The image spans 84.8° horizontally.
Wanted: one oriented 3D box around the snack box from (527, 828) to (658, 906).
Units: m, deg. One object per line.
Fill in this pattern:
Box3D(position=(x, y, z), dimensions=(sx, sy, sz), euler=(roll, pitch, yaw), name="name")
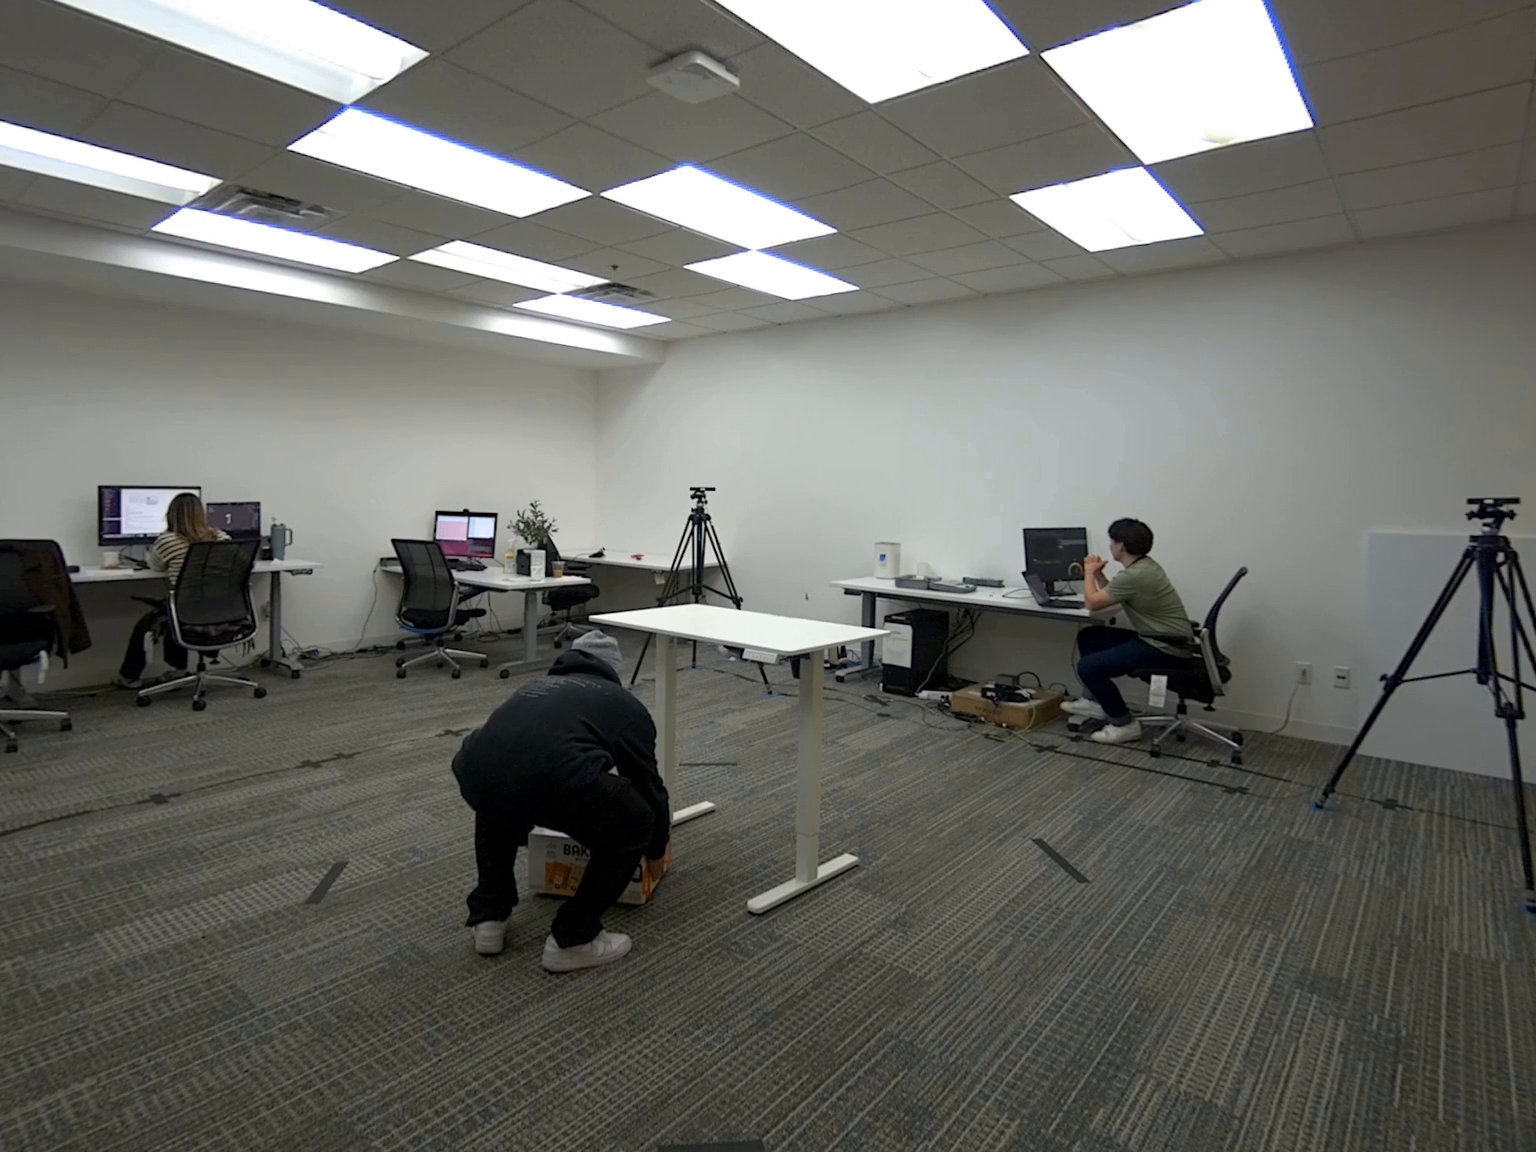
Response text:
Box3D(position=(-0.594, 0.959, 2.979), dimensions=(0.410, 0.205, 0.336), euler=(1, 2, 11), name="snack box")
